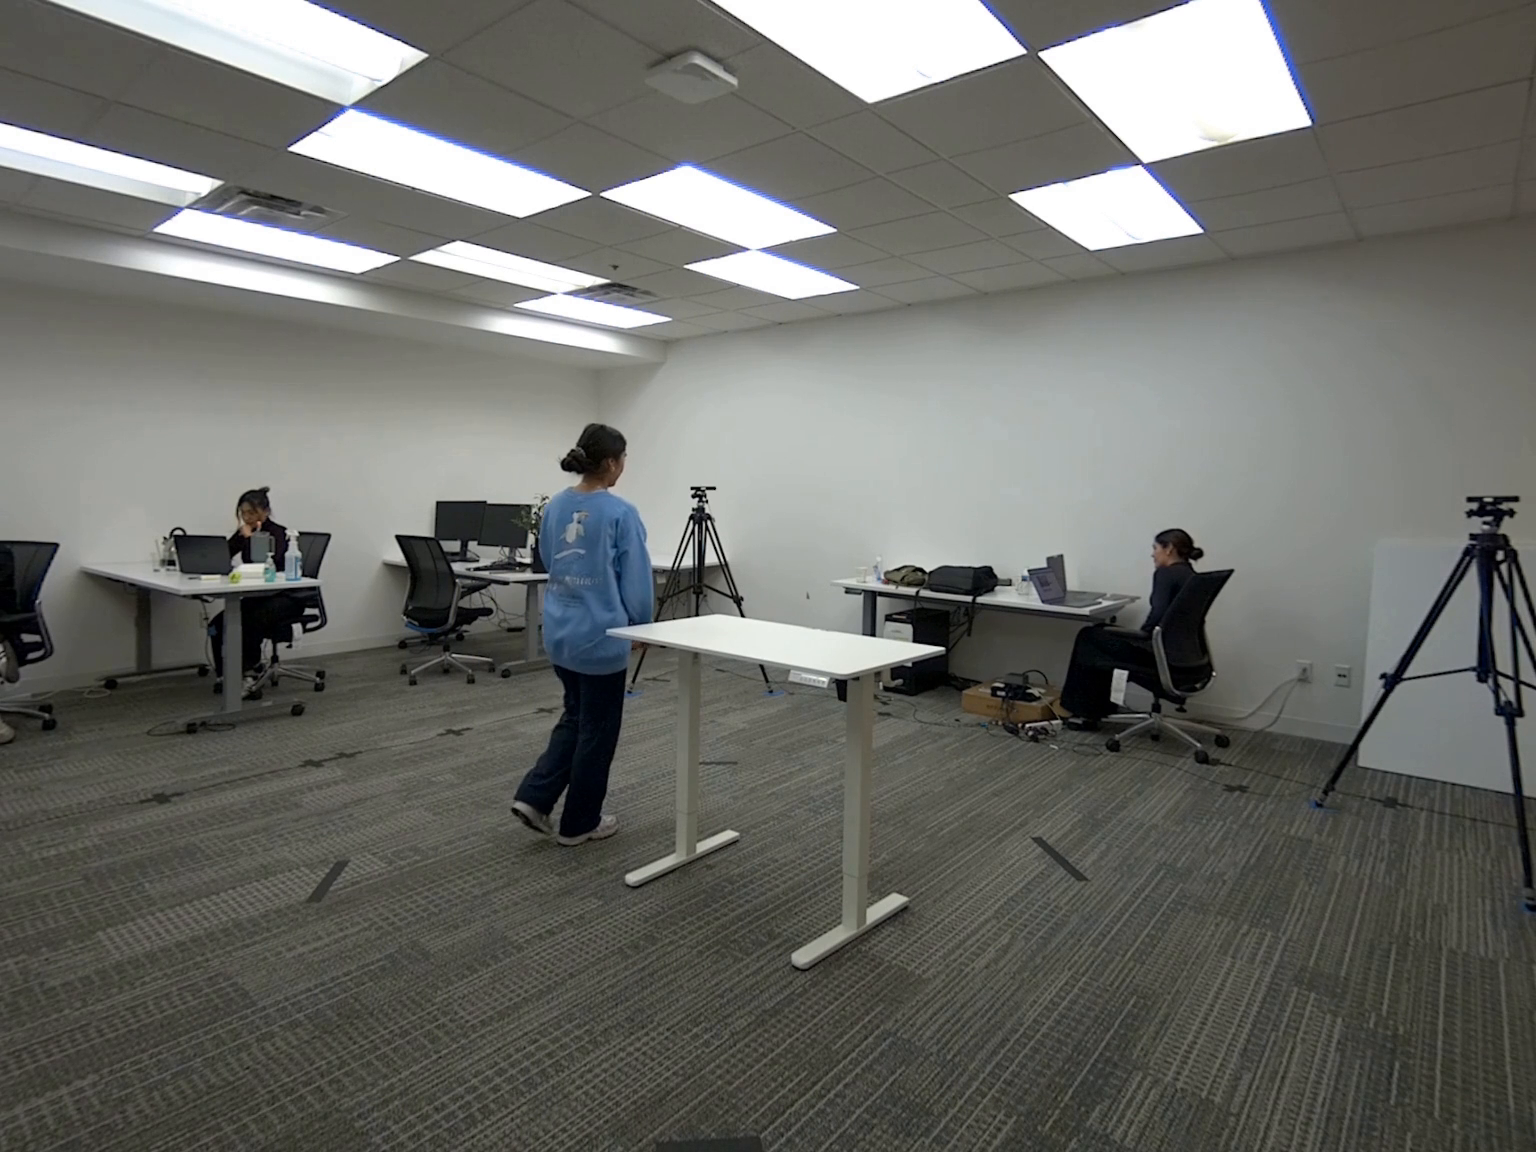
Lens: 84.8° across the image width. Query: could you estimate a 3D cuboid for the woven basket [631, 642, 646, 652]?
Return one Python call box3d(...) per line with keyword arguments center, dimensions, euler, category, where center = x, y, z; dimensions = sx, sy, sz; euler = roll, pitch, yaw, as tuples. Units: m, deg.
box3d(center=(-0.582, 0.256, 3.577), dimensions=(0.257, 0.073, 0.343), euler=(7, 1, 16), category="woven basket")
